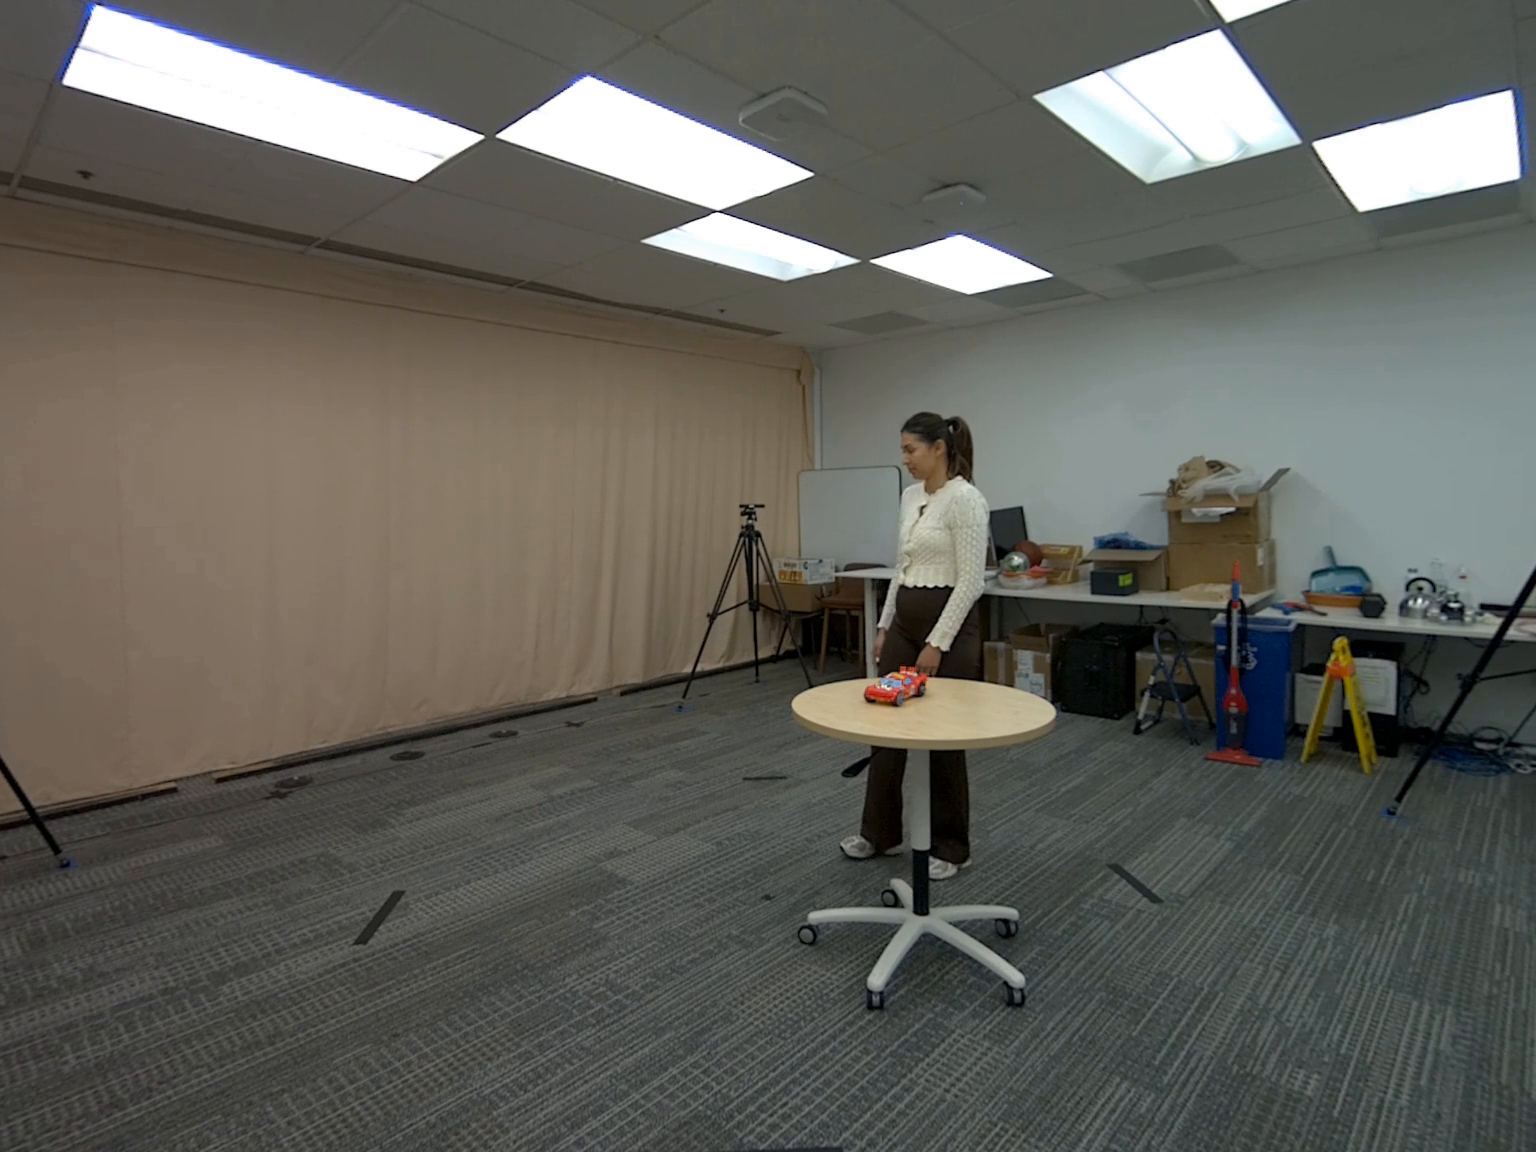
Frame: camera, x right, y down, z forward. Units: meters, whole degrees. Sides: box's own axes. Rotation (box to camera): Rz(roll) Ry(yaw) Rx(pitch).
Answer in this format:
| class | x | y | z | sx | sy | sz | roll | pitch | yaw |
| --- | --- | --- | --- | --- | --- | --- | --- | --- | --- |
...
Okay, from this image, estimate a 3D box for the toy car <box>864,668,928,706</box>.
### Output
| class | x | y | z | sx | sy | sz | roll | pitch | yaw |
| --- | --- | --- | --- | --- | --- | --- | --- | --- | --- |
| toy car | 0.416 | 0.350 | 2.609 | 0.134 | 0.082 | 0.249 | 3 | 17 | 38 |
